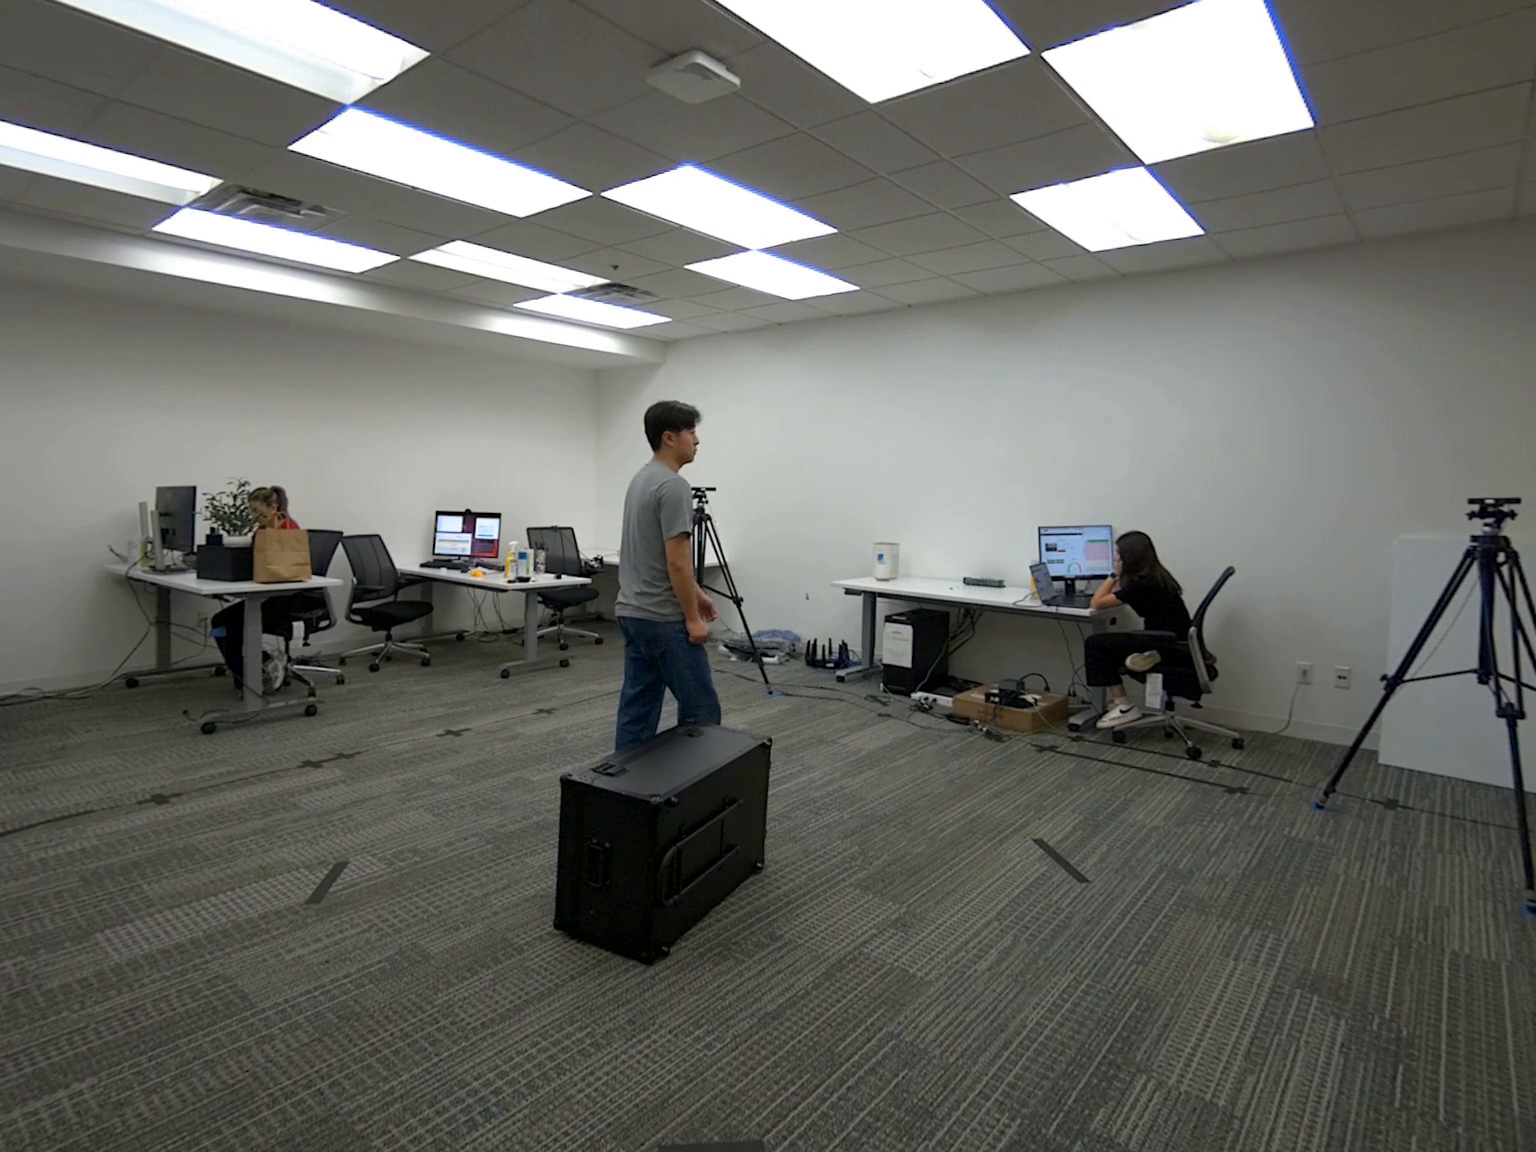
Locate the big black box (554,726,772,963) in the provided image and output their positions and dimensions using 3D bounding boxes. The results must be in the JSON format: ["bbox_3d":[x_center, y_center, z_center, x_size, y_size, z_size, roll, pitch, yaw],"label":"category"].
[{"bbox_3d":[-0.307,0.827,2.887,0.407,0.519,0.842,5,6,25],"label":"big black box"}]
